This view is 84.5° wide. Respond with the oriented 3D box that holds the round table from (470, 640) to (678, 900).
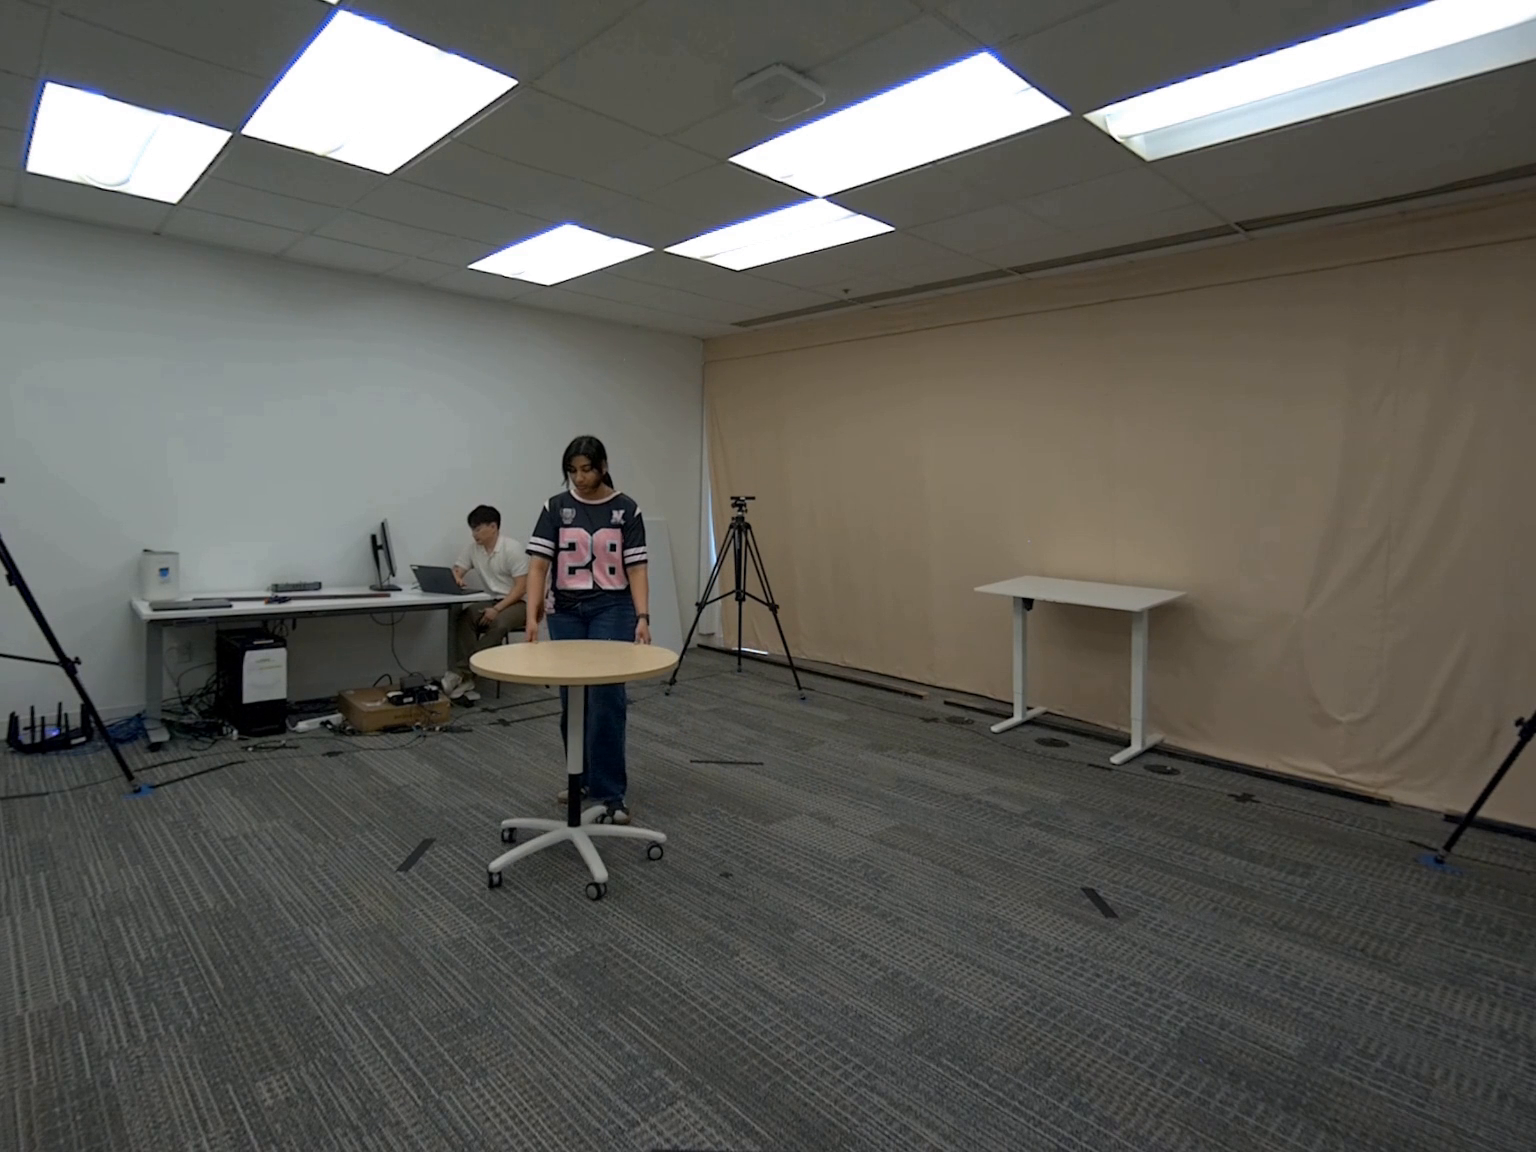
[{"bbox_3d":[-0.729,0.694,3.157,0.784,0.785,0.787,2,3,-1],"label":"round table"}]
